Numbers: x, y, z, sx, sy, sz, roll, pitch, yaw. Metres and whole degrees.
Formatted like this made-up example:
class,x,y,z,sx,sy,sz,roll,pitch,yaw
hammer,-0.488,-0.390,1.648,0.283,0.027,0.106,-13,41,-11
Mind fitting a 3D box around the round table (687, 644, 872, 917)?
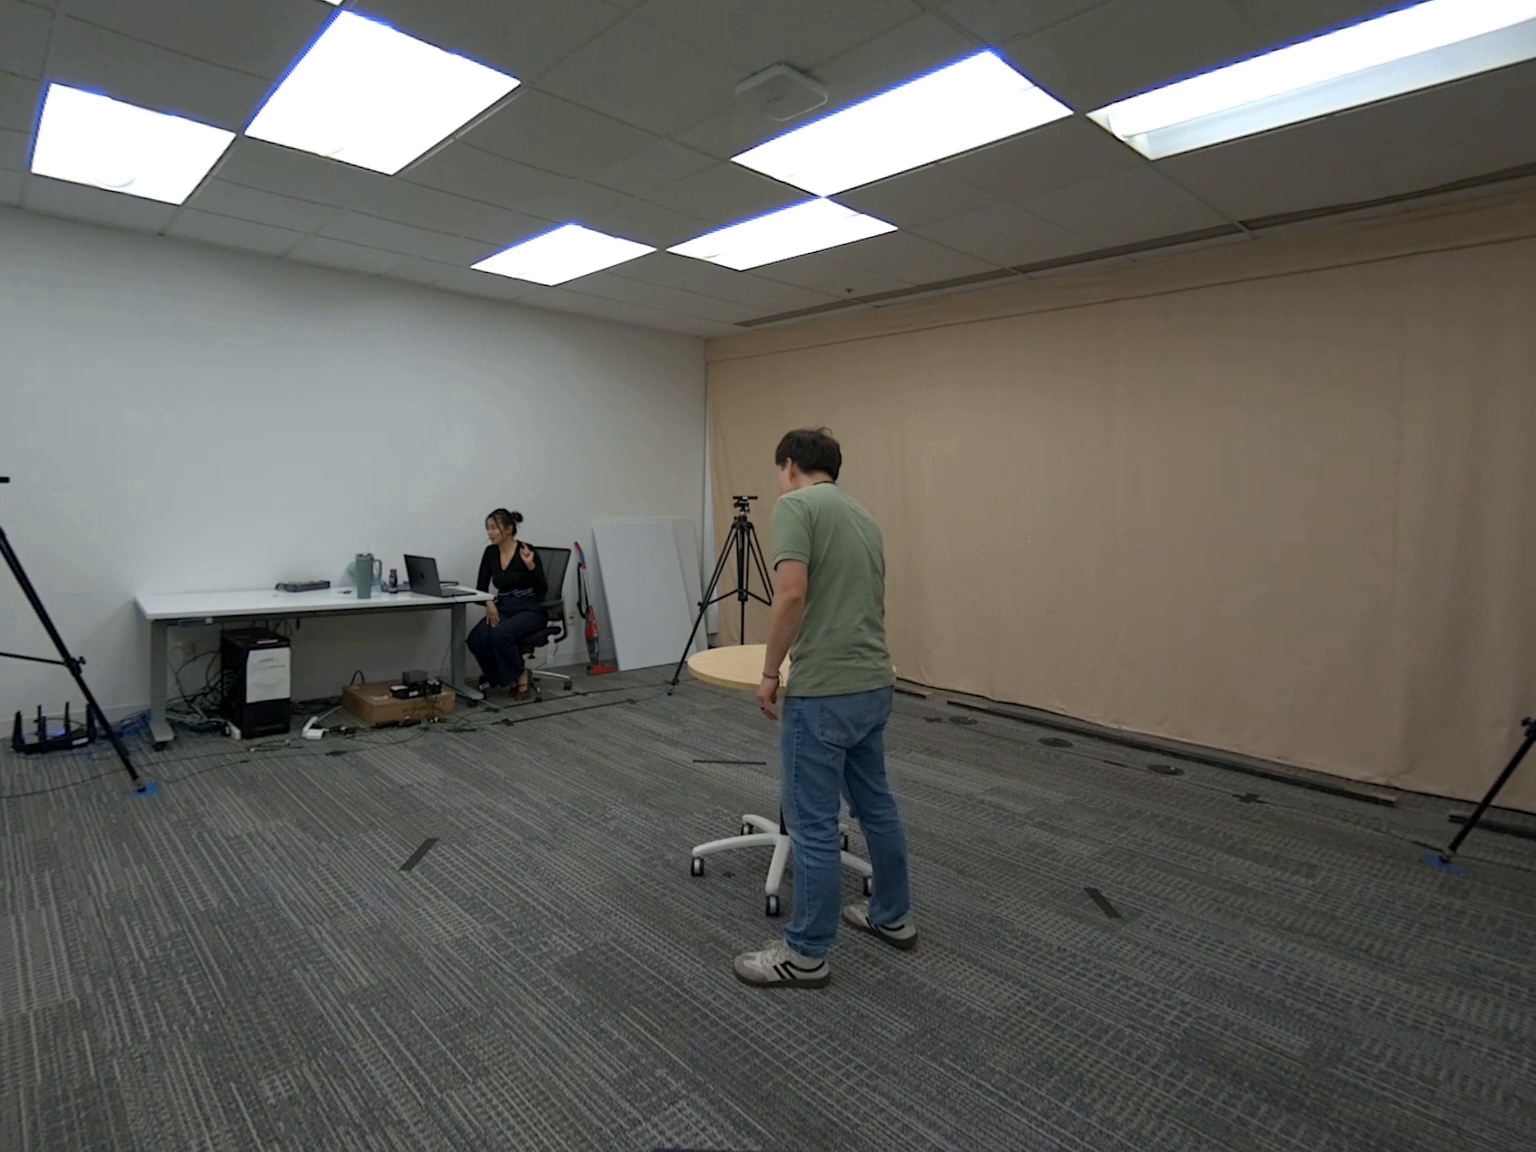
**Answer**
class,x,y,z,sx,sy,sz,roll,pitch,yaw
round table,0.068,0.717,3.136,0.763,0.792,0.767,1,4,-1
